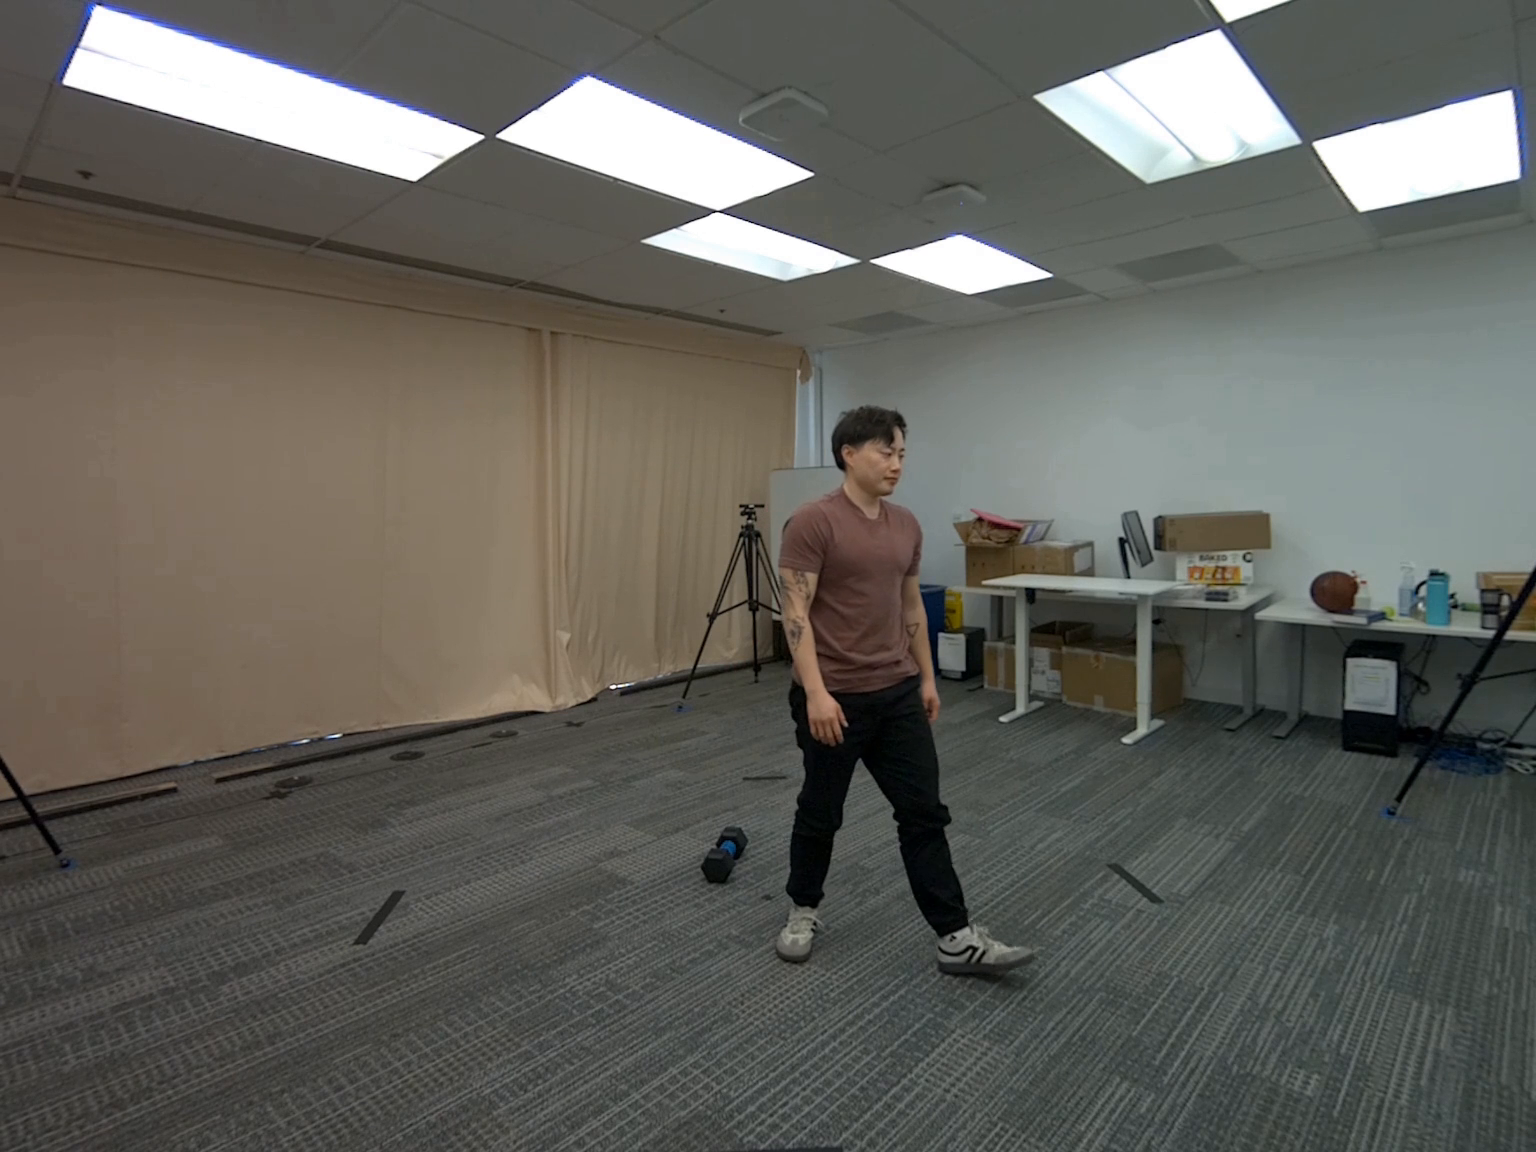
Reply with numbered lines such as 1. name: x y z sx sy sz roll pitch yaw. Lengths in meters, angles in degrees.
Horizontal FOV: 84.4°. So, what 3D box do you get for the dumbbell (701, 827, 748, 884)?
1. dumbbell: -0.163 1.066 3.233 0.110 0.123 0.290 32 11 8
